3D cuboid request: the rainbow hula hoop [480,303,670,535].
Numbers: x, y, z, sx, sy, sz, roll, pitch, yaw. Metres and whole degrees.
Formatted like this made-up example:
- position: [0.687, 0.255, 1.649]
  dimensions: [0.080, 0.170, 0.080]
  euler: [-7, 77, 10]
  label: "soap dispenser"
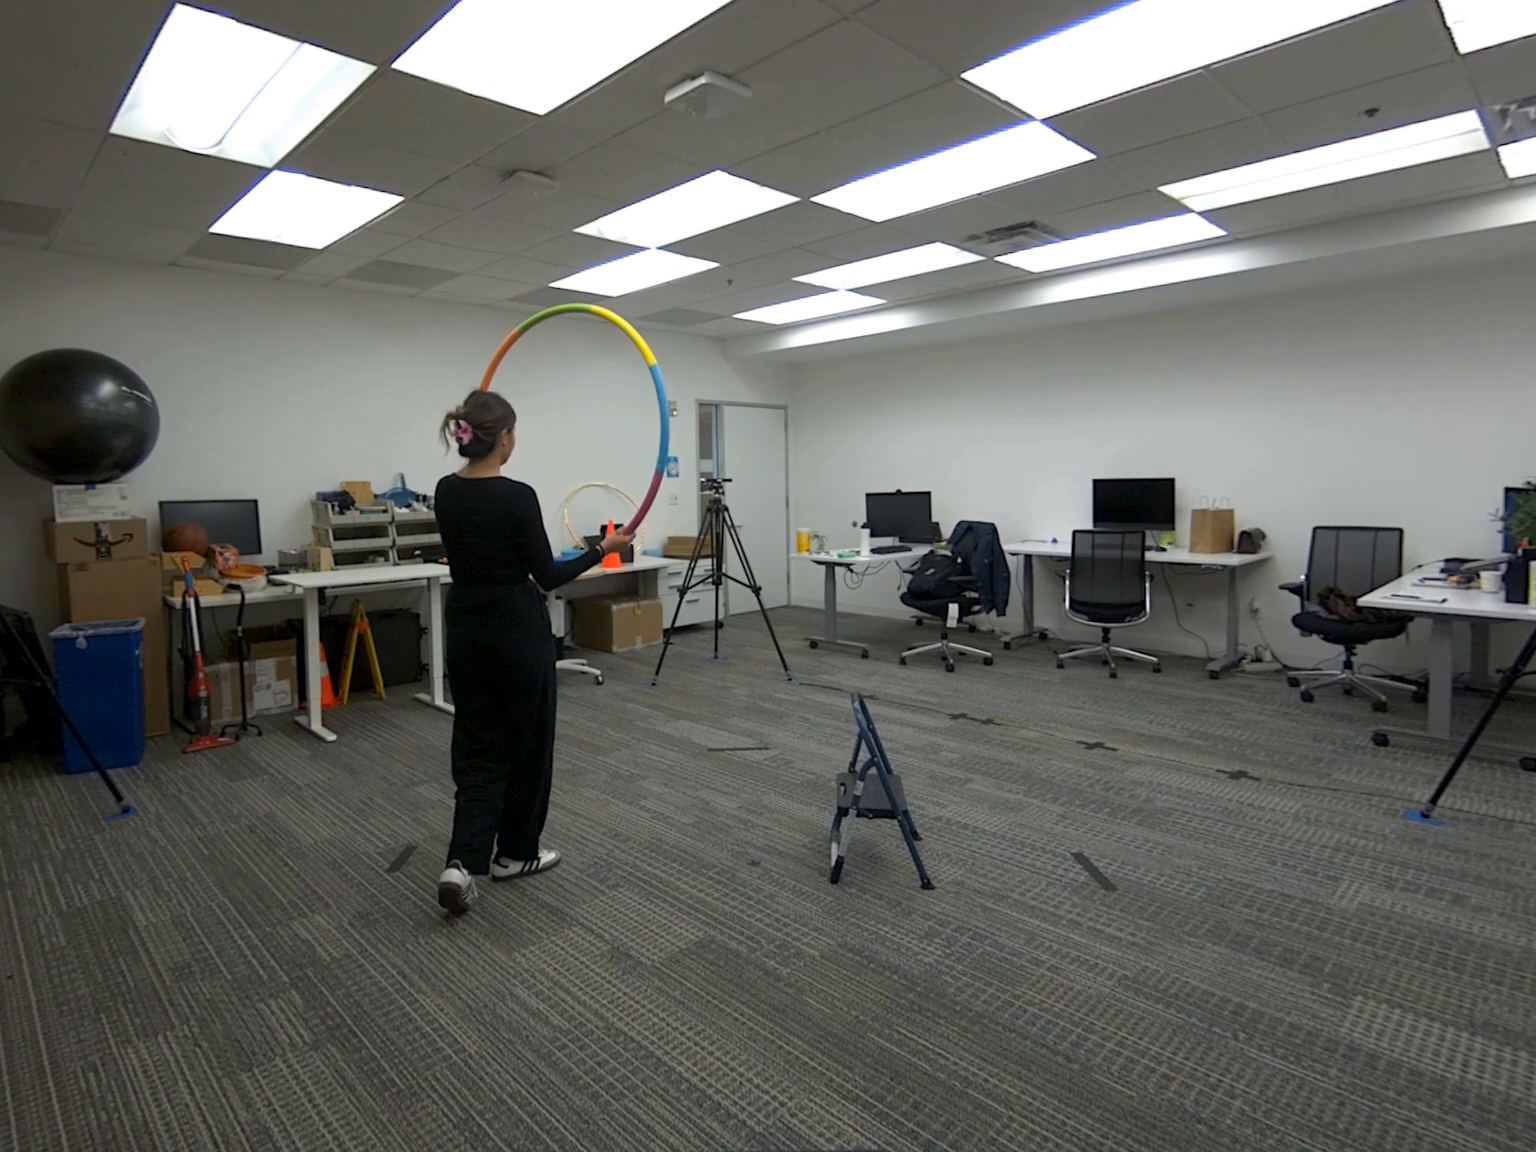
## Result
- position: [-0.773, -0.522, 3.197]
  dimensions: [1.005, 0.978, 0.034]
  euler: [2, 1, 32]
  label: "rainbow hula hoop"
